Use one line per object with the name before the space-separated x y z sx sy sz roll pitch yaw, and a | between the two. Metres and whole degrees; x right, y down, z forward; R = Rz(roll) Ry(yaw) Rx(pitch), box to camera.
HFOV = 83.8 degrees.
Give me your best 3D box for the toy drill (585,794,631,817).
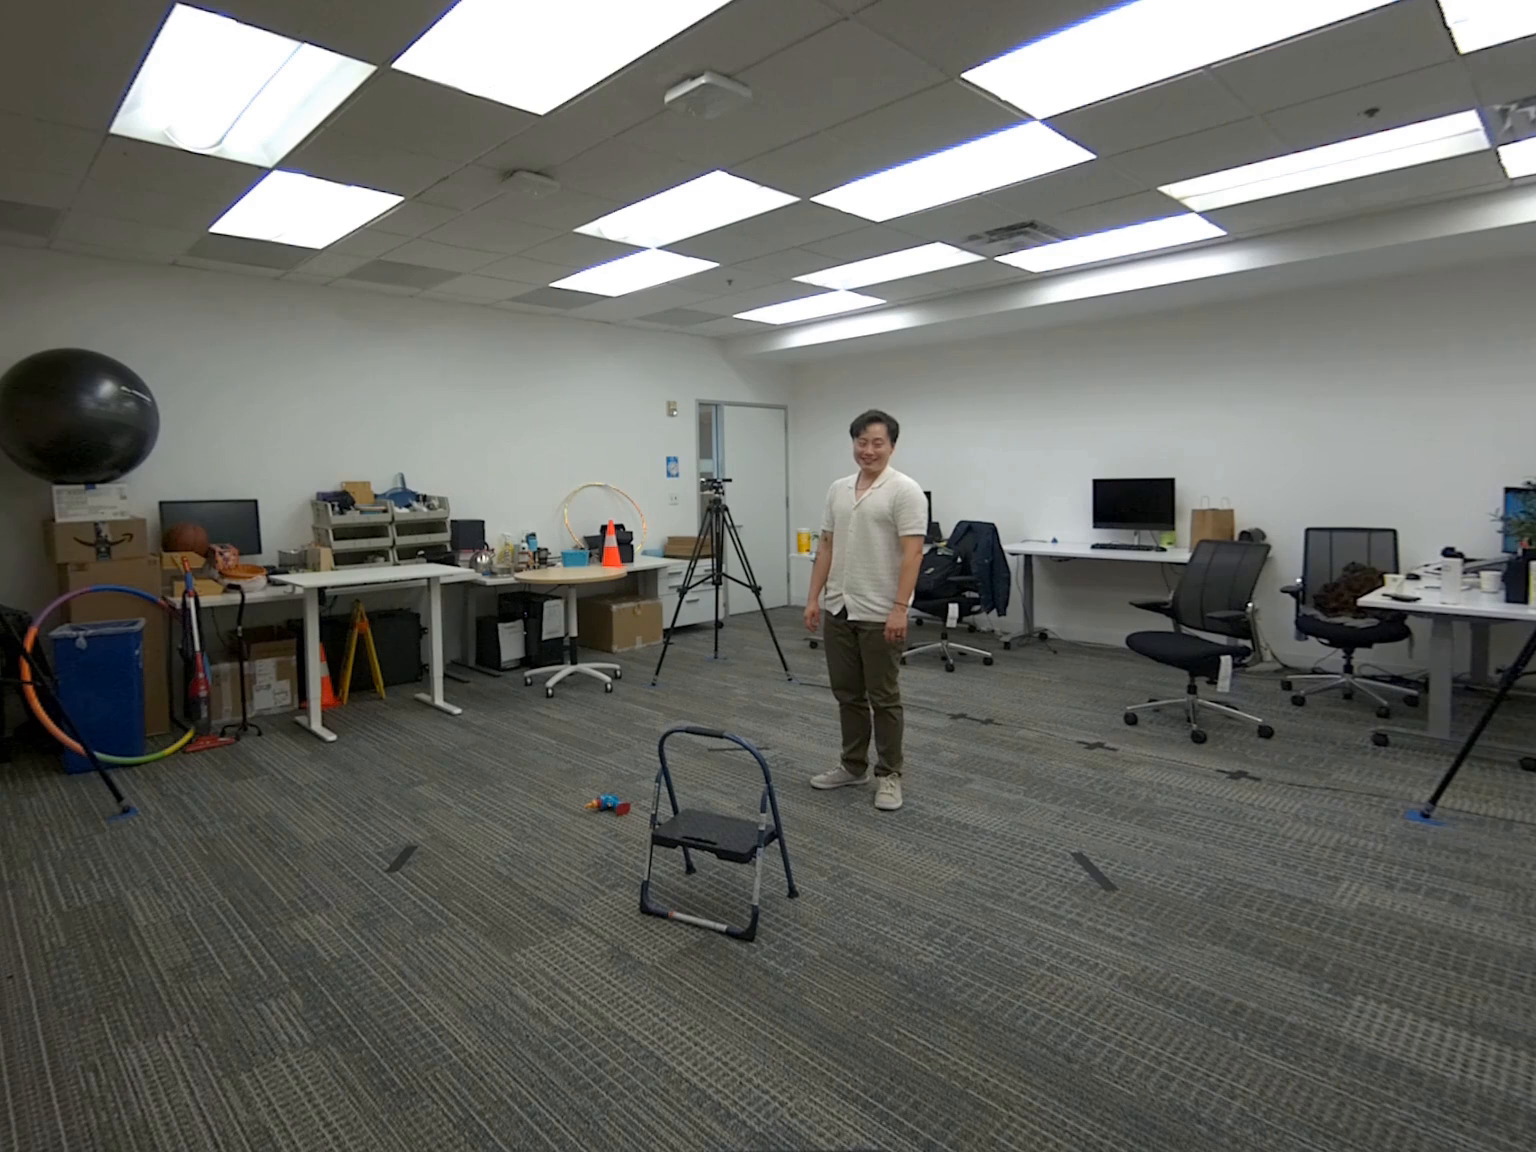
toy drill | -0.684 0.970 3.622 0.165 0.061 0.150 3 2 -42
